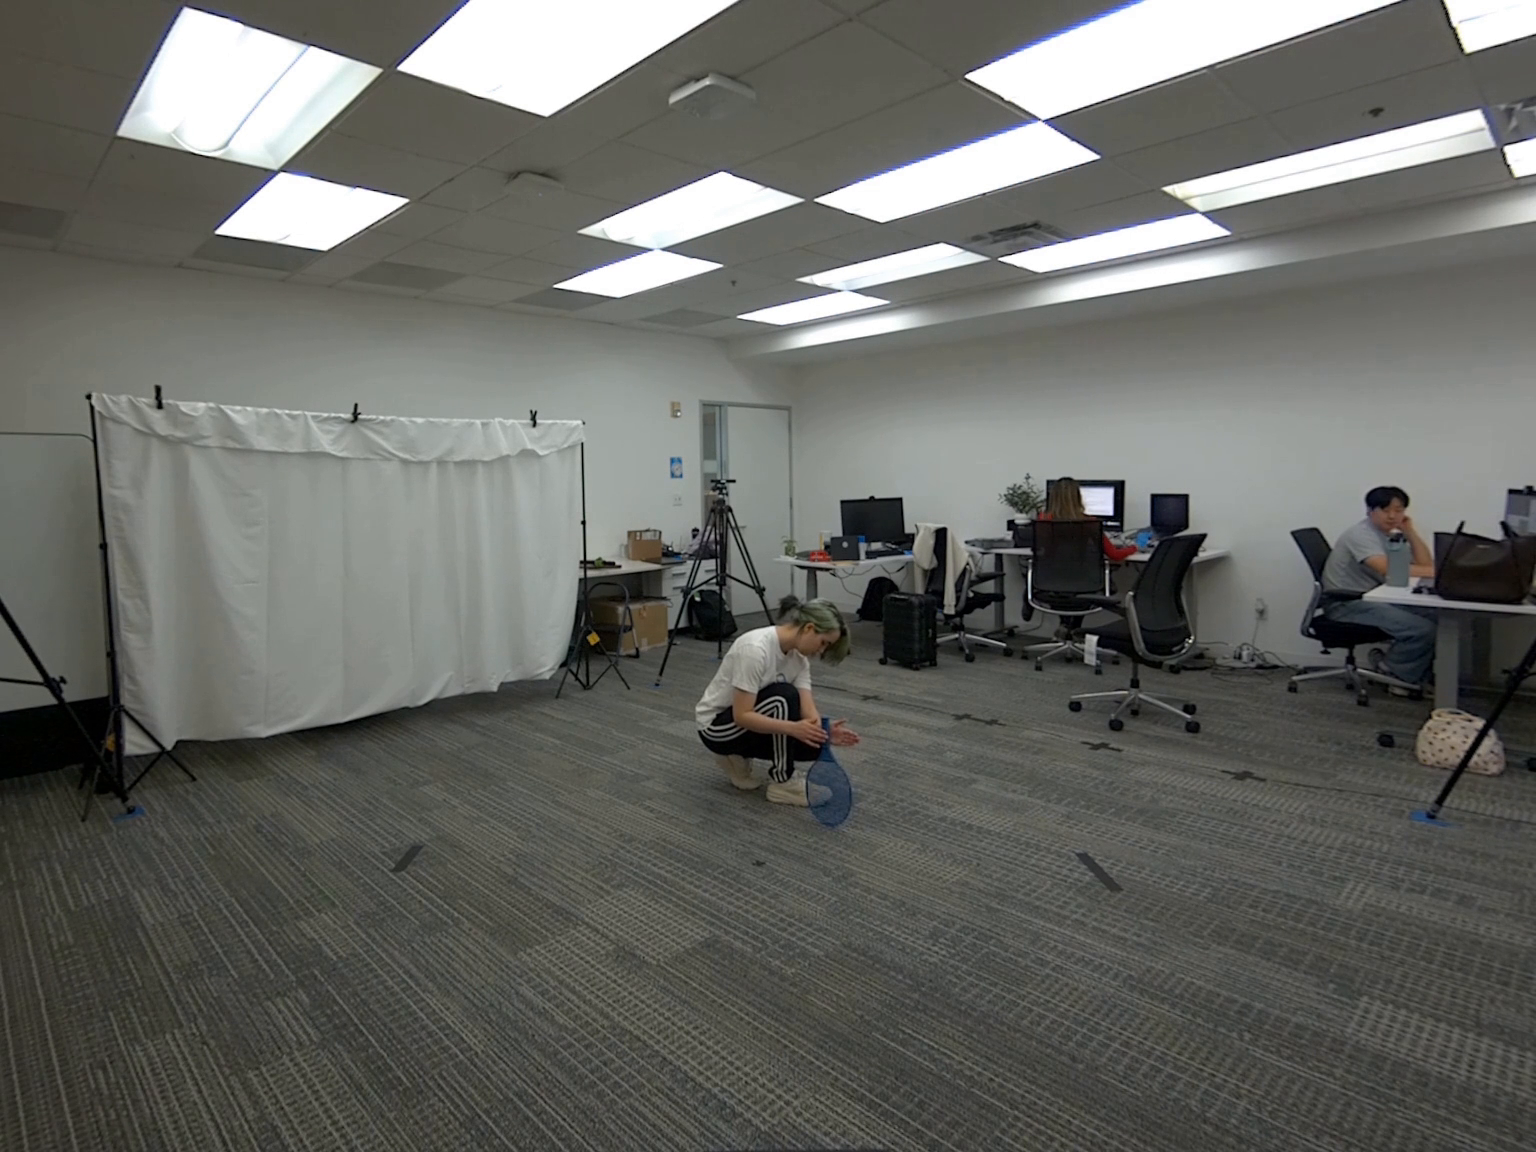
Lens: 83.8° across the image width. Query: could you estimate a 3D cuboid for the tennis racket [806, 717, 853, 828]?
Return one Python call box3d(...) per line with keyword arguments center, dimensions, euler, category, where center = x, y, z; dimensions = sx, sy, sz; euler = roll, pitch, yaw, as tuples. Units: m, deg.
box3d(center=(0.243, 0.786, 3.455), dimensions=(0.219, 0.435, 0.031), euler=(-7, -6, 37), category="tennis racket")
